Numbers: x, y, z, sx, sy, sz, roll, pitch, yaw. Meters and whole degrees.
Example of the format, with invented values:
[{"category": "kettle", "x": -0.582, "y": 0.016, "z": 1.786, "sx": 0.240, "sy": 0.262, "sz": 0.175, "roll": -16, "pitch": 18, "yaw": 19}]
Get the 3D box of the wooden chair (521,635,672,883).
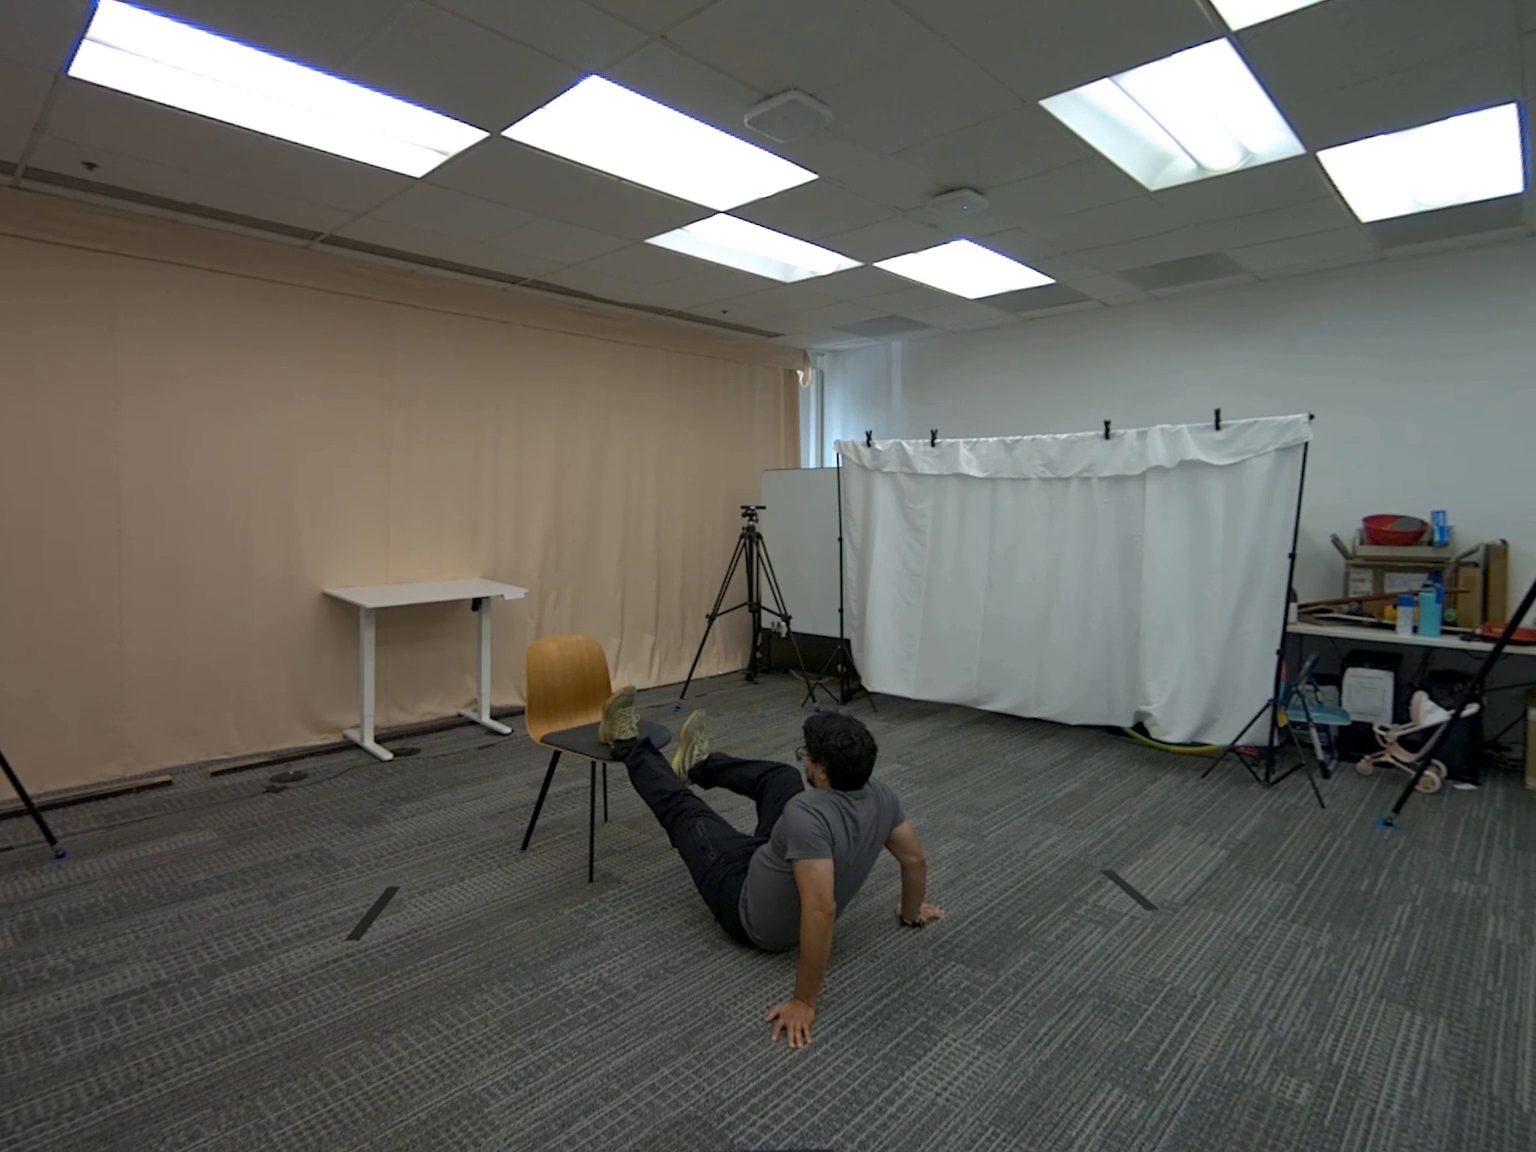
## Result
[{"category": "wooden chair", "x": -0.684, "y": 0.689, "z": 3.400, "sx": 0.539, "sy": 0.877, "sz": 0.463, "roll": -3, "pitch": 0, "yaw": 42}]
